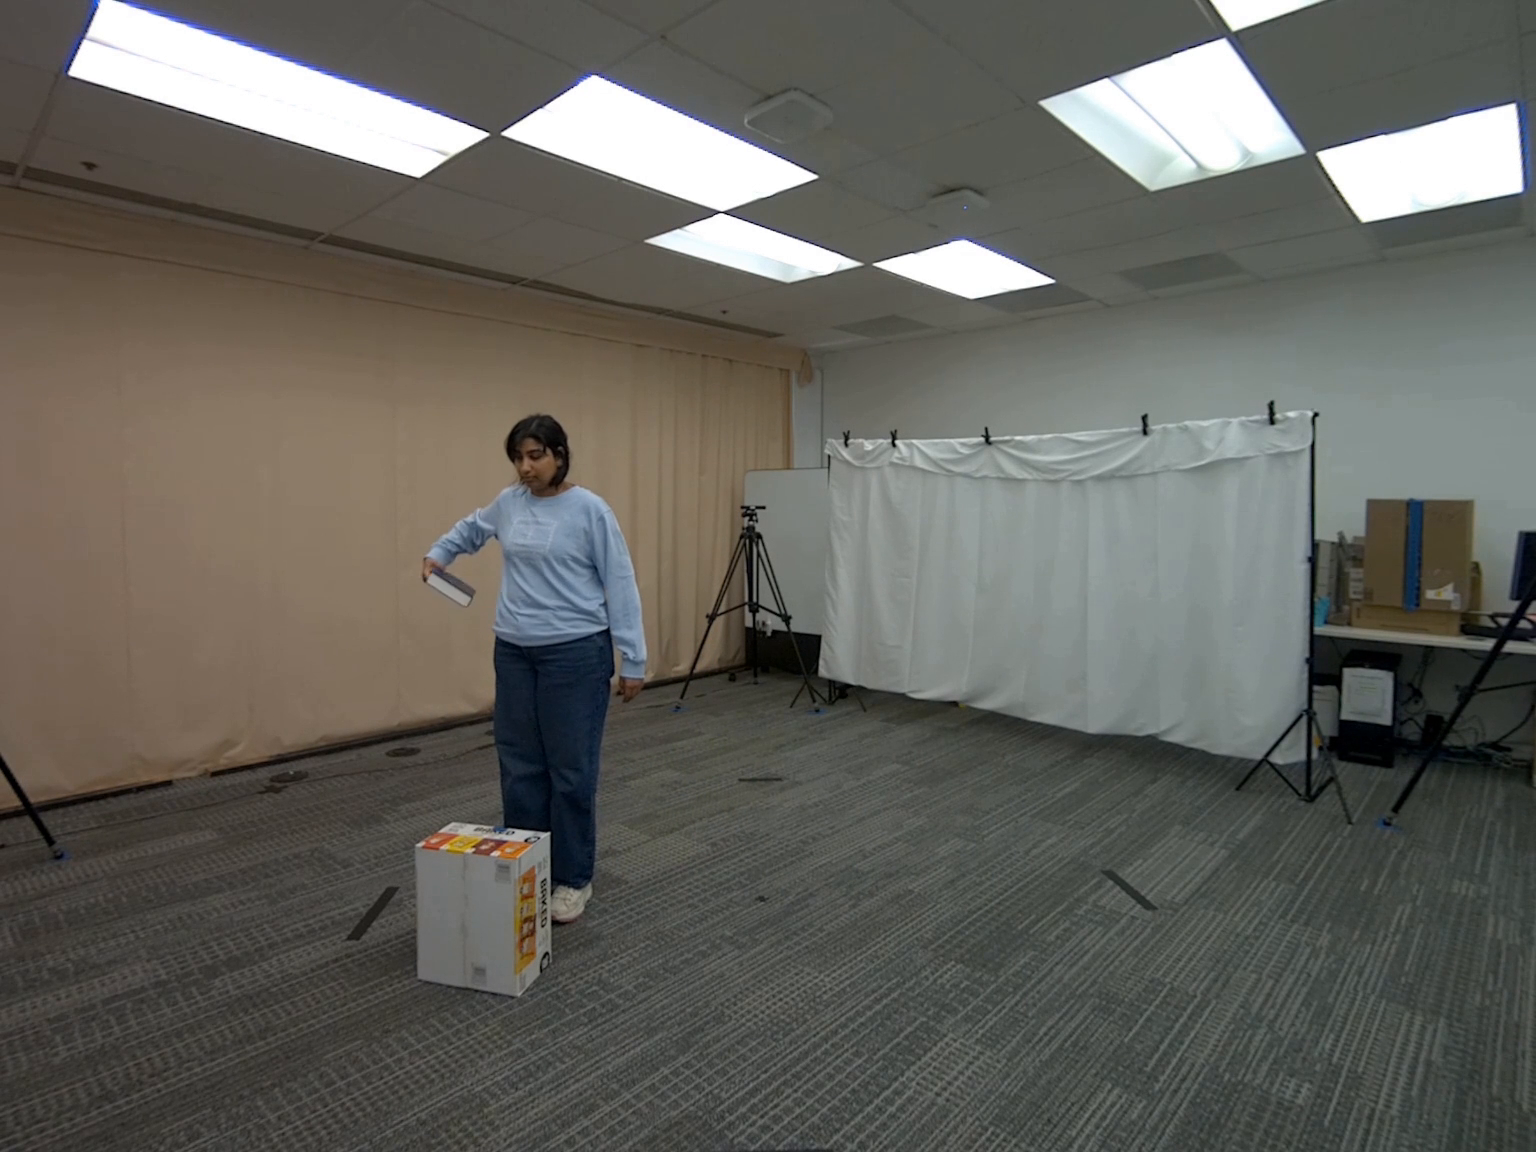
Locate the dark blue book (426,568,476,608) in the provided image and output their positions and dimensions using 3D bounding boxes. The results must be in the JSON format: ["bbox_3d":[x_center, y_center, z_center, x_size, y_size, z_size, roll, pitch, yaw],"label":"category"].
[{"bbox_3d":[-1.104,0.041,2.926,0.160,0.045,0.250,35,-6,-16],"label":"dark blue book"}]
